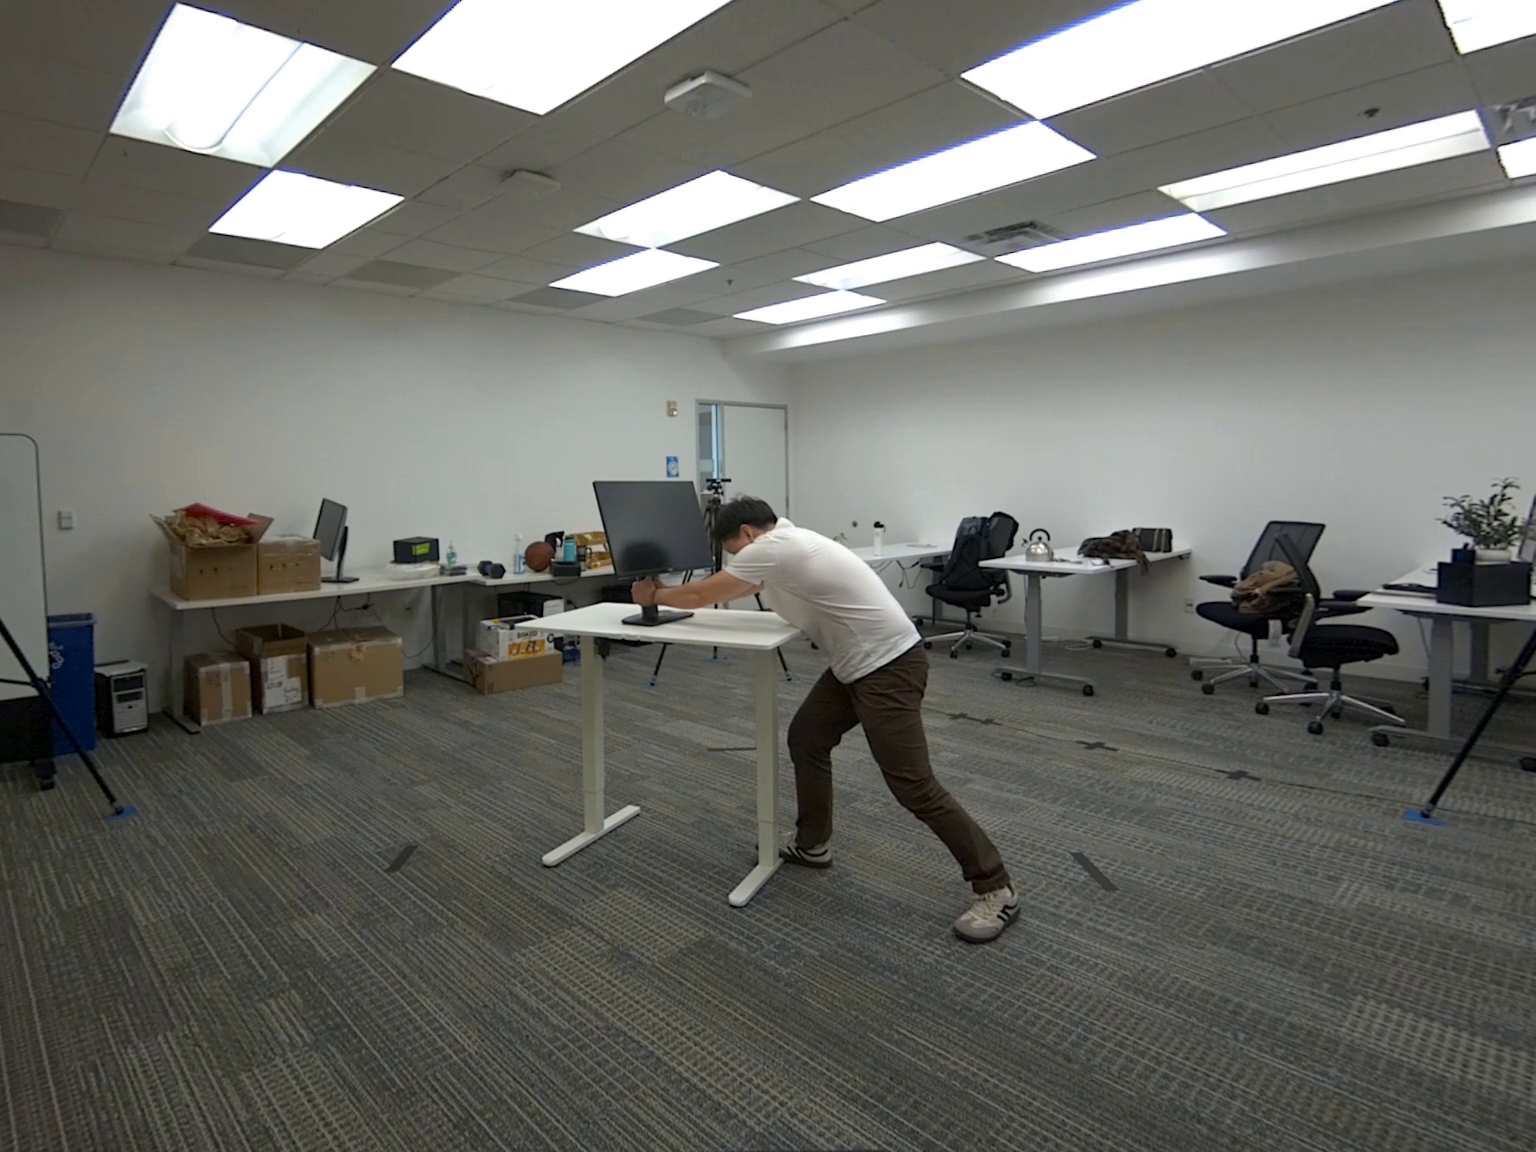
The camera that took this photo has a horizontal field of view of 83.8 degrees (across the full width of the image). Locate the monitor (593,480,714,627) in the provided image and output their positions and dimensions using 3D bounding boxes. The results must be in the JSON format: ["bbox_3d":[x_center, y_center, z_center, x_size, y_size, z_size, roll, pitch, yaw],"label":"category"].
[{"bbox_3d":[-0.424,-0.094,3.167,0.192,0.522,0.526,-3,2,33],"label":"monitor"}]
